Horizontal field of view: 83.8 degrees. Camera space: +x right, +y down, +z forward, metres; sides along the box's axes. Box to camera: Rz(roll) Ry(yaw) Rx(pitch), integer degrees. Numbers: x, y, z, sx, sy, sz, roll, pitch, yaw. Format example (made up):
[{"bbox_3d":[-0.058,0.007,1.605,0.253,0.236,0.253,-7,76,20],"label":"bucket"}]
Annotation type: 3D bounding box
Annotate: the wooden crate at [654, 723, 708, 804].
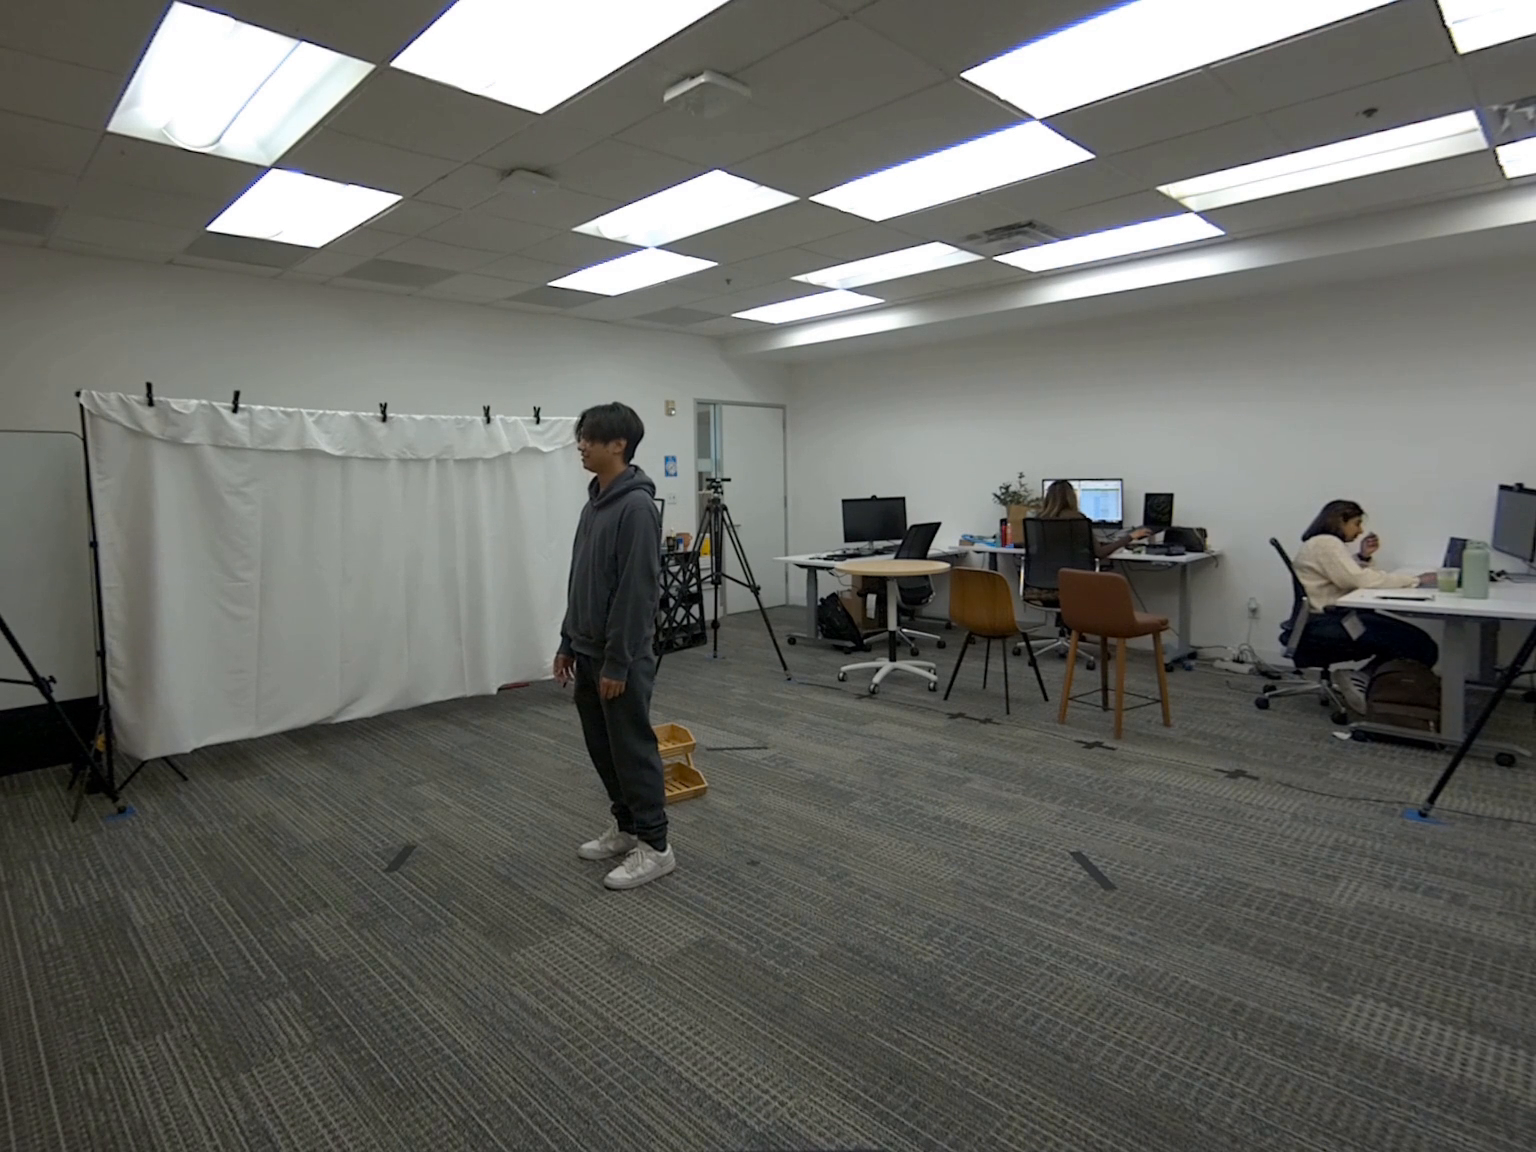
[{"bbox_3d":[-0.474,0.832,3.811,0.316,0.272,0.311,-4,6,-35],"label":"wooden crate"}]
